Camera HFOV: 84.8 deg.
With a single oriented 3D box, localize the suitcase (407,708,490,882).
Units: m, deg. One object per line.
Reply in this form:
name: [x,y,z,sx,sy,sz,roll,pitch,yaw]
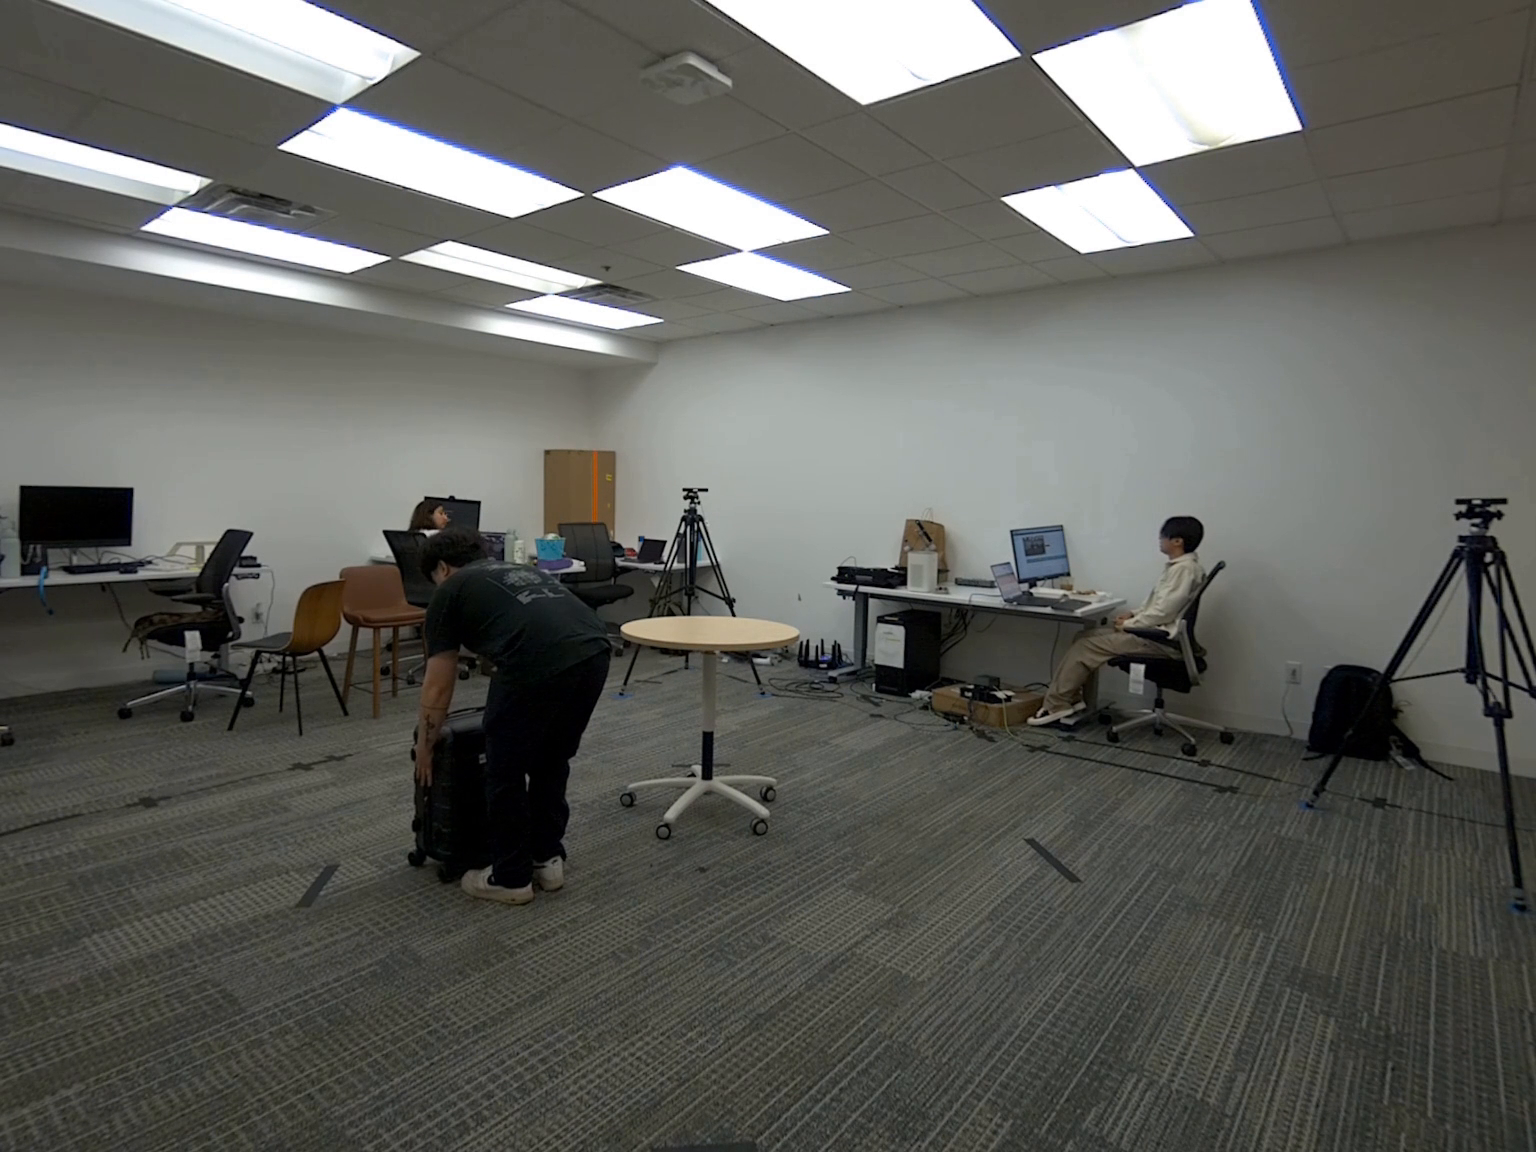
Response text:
suitcase: [-1.118,0.775,3.133,0.256,0.547,0.365,2,5,39]
